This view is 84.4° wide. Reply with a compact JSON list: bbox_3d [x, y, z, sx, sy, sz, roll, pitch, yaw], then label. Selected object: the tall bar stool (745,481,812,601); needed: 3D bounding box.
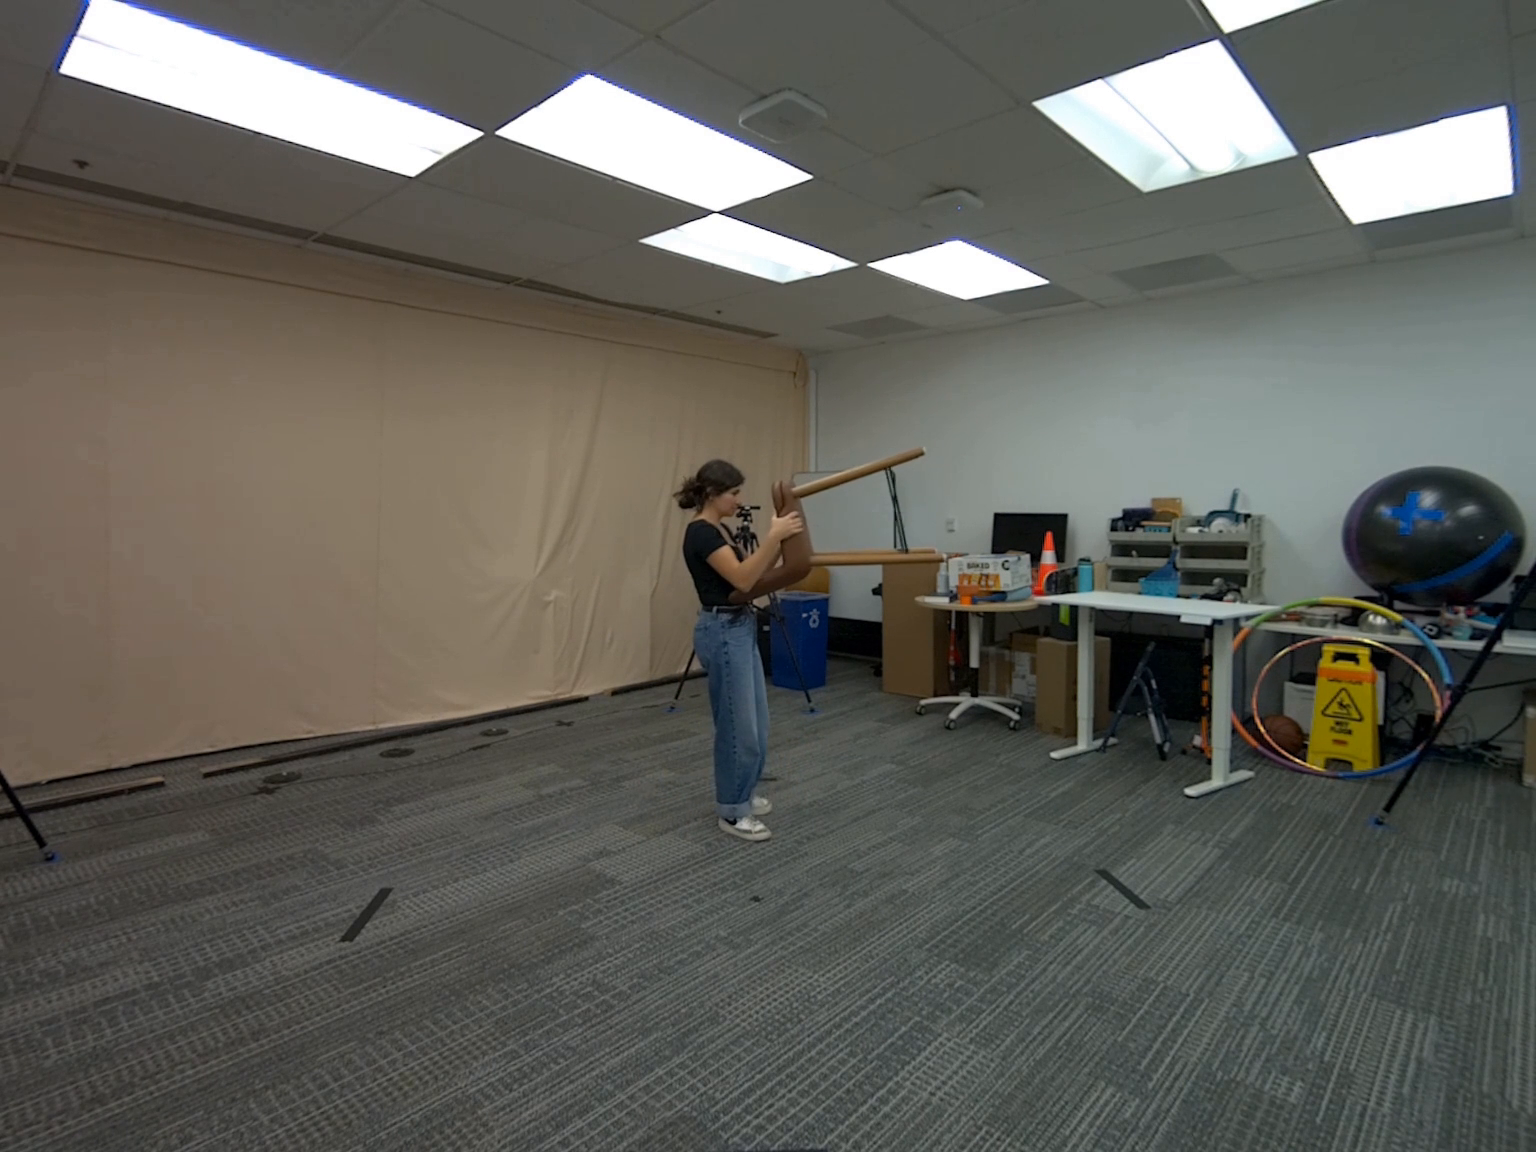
[{"bbox_3d":[0.237,-0.205,3.511,0.897,0.466,0.454,-13,4,8],"label":"tall bar stool"}]
